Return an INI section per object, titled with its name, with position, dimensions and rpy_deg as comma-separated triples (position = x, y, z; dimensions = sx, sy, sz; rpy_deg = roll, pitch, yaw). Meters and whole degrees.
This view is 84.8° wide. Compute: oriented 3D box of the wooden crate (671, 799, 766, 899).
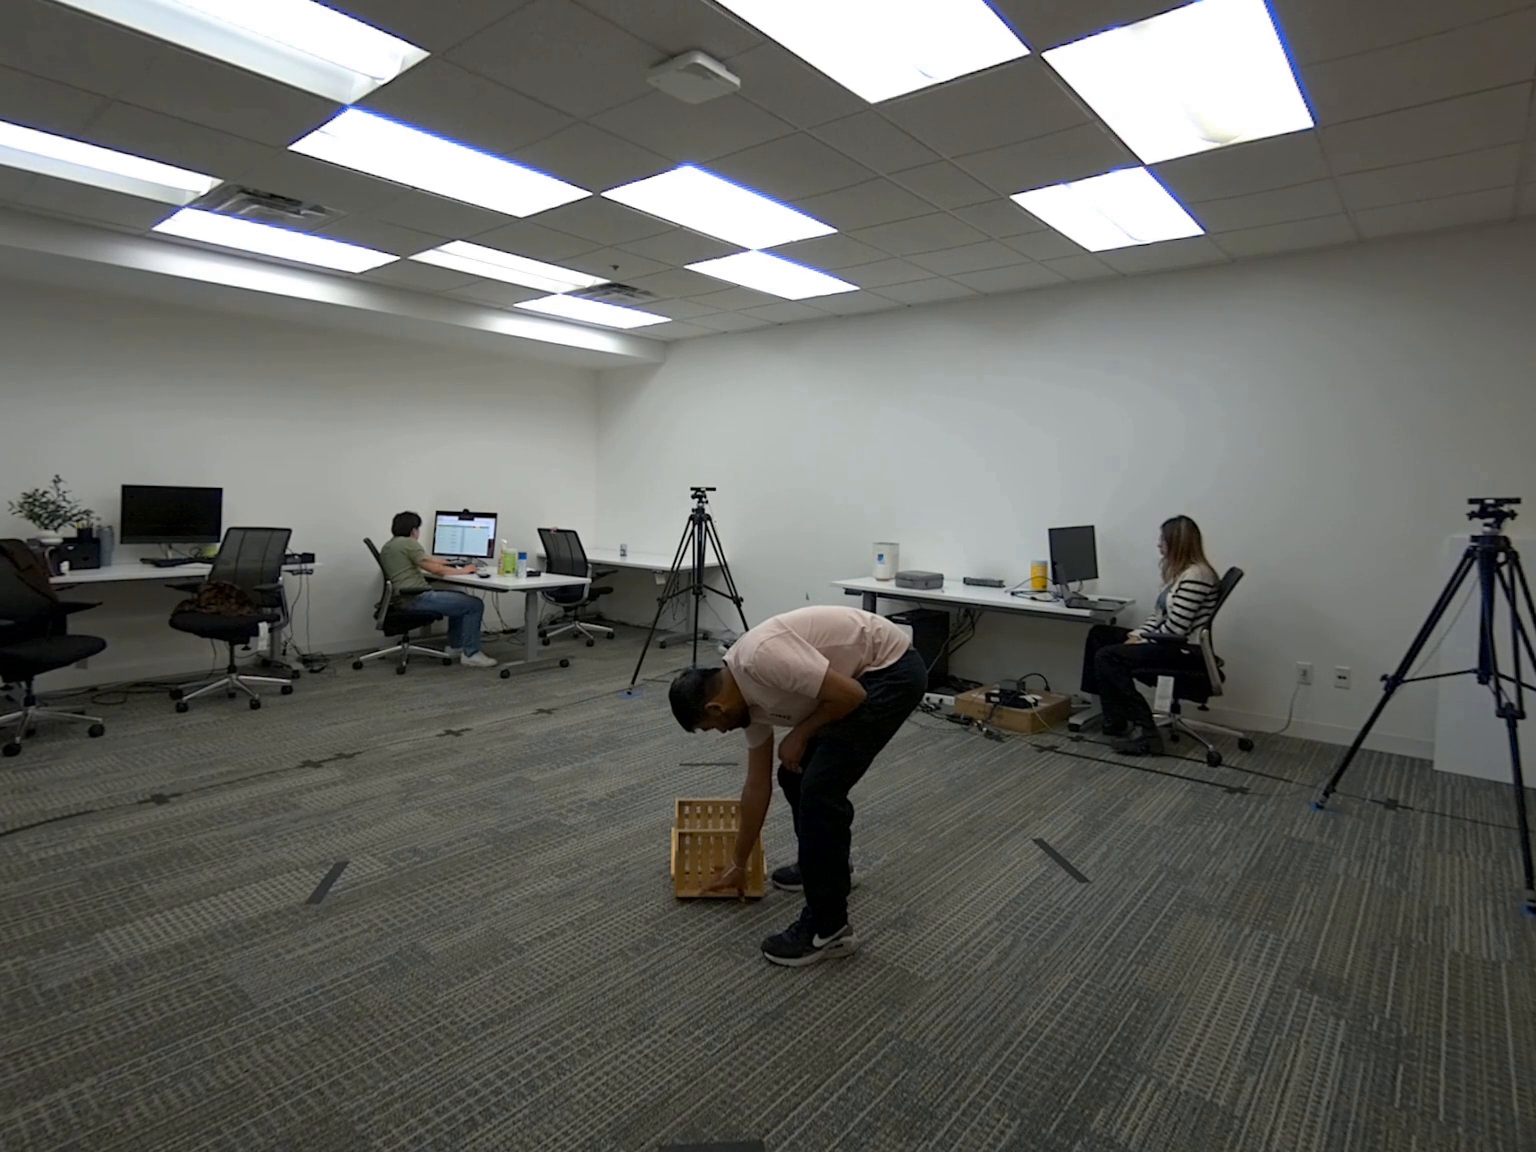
[wooden crate]
position = -0.187, 0.943, 3.000
dimensions = 0.323, 0.306, 0.271
rpy_deg = 1, -13, -5
